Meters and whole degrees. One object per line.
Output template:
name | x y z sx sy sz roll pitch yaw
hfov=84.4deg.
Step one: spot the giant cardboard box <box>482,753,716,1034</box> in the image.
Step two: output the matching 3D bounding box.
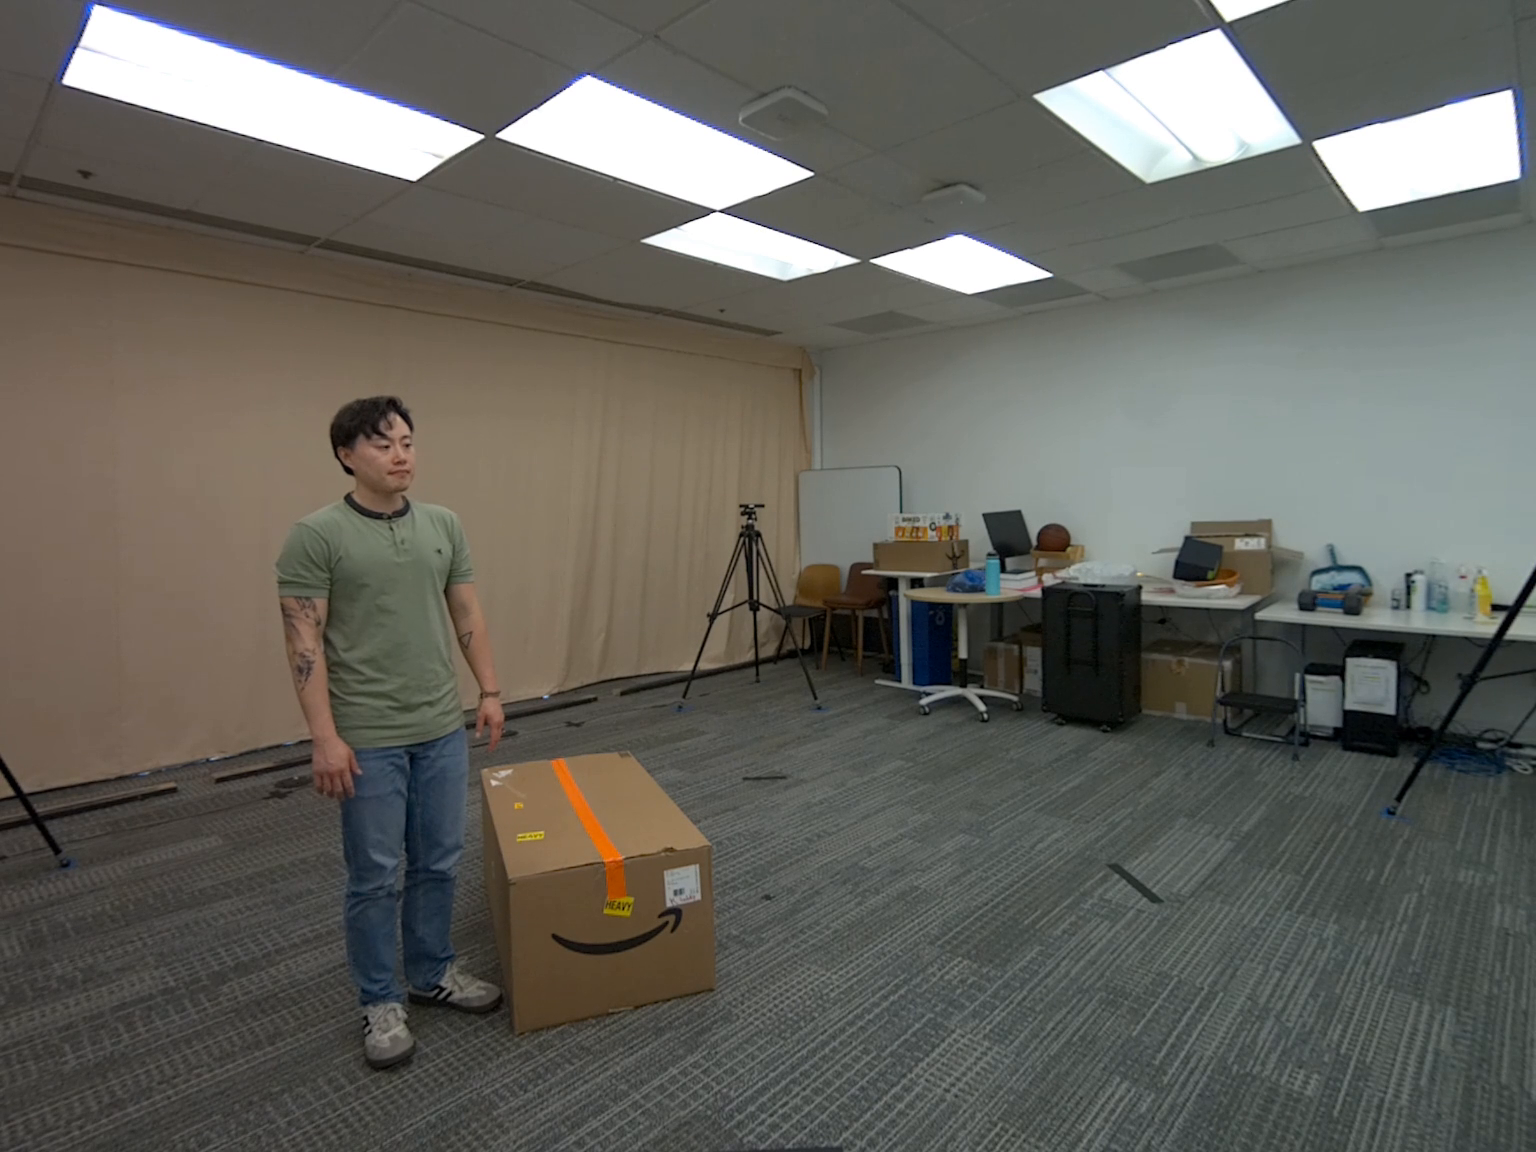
giant cardboard box | -0.609 0.952 2.794 0.566 0.425 1.050 -4 5 -22
